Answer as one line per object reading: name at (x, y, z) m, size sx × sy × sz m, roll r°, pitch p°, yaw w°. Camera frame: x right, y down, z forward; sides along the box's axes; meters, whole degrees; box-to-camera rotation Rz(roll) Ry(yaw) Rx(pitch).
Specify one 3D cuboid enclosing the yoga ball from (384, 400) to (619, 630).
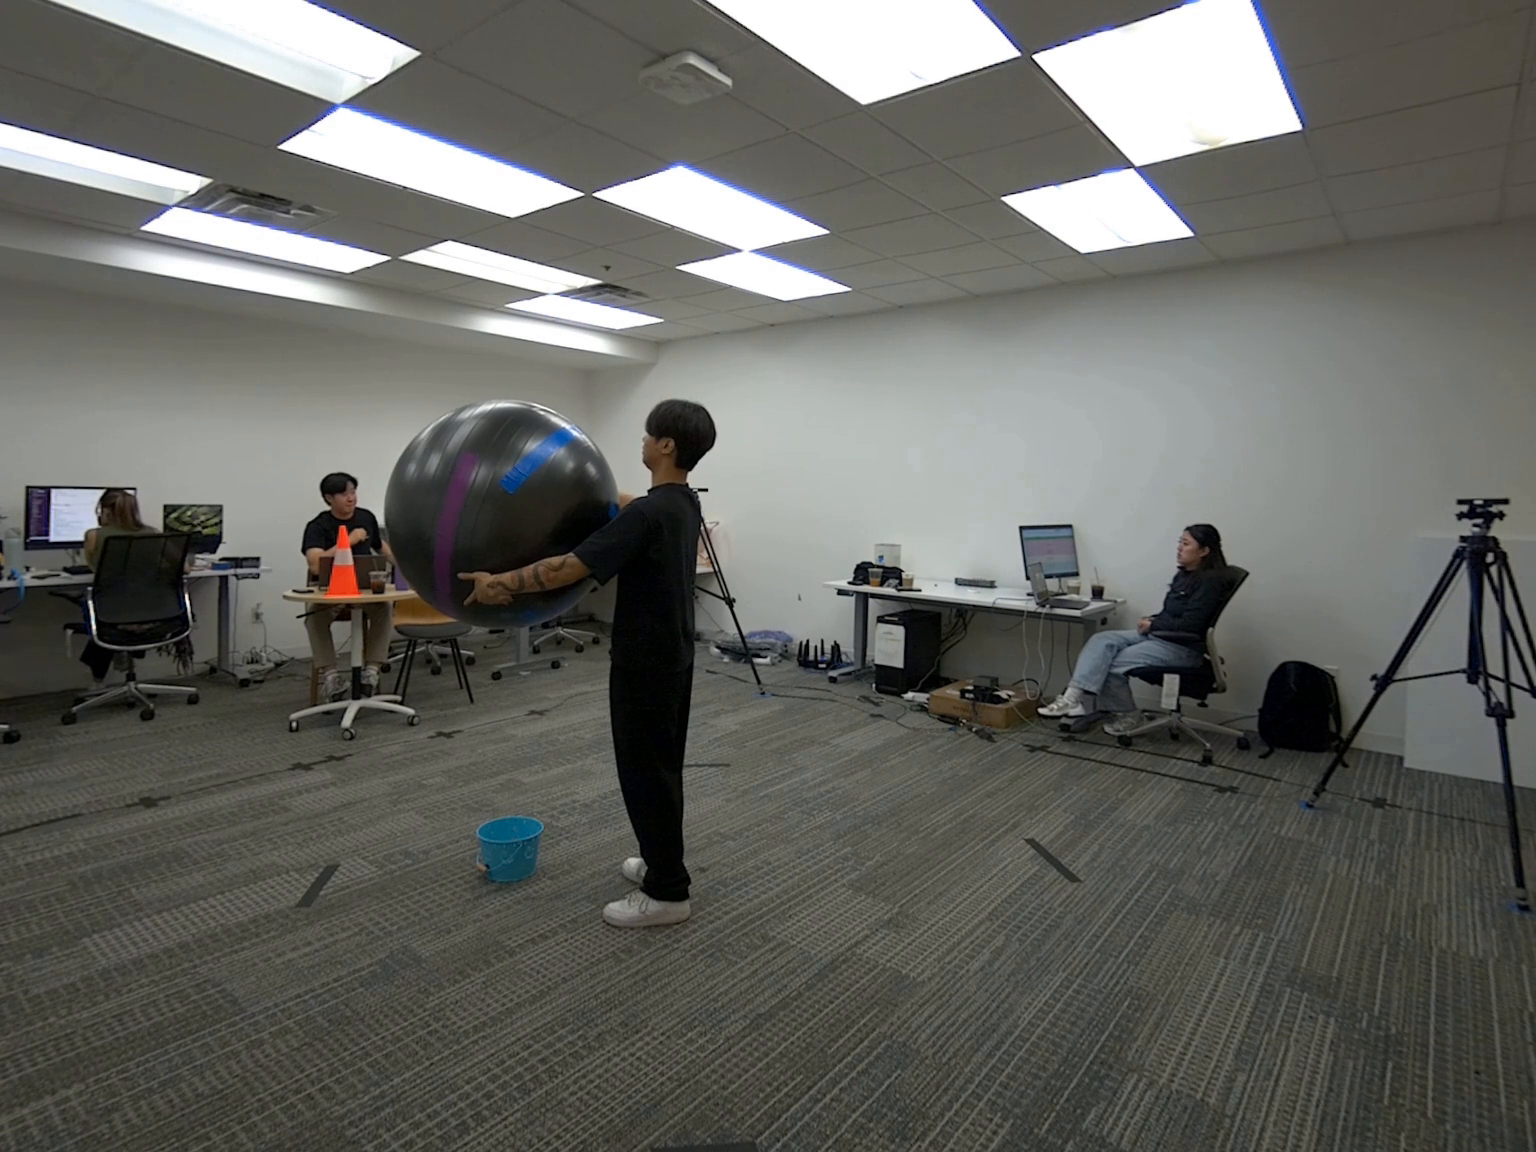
yoga ball at (-0.901, -0.209, 2.835) m, size 0.757 × 0.756 × 0.762 m, roll 1°, pitch 4°, yaw -2°
